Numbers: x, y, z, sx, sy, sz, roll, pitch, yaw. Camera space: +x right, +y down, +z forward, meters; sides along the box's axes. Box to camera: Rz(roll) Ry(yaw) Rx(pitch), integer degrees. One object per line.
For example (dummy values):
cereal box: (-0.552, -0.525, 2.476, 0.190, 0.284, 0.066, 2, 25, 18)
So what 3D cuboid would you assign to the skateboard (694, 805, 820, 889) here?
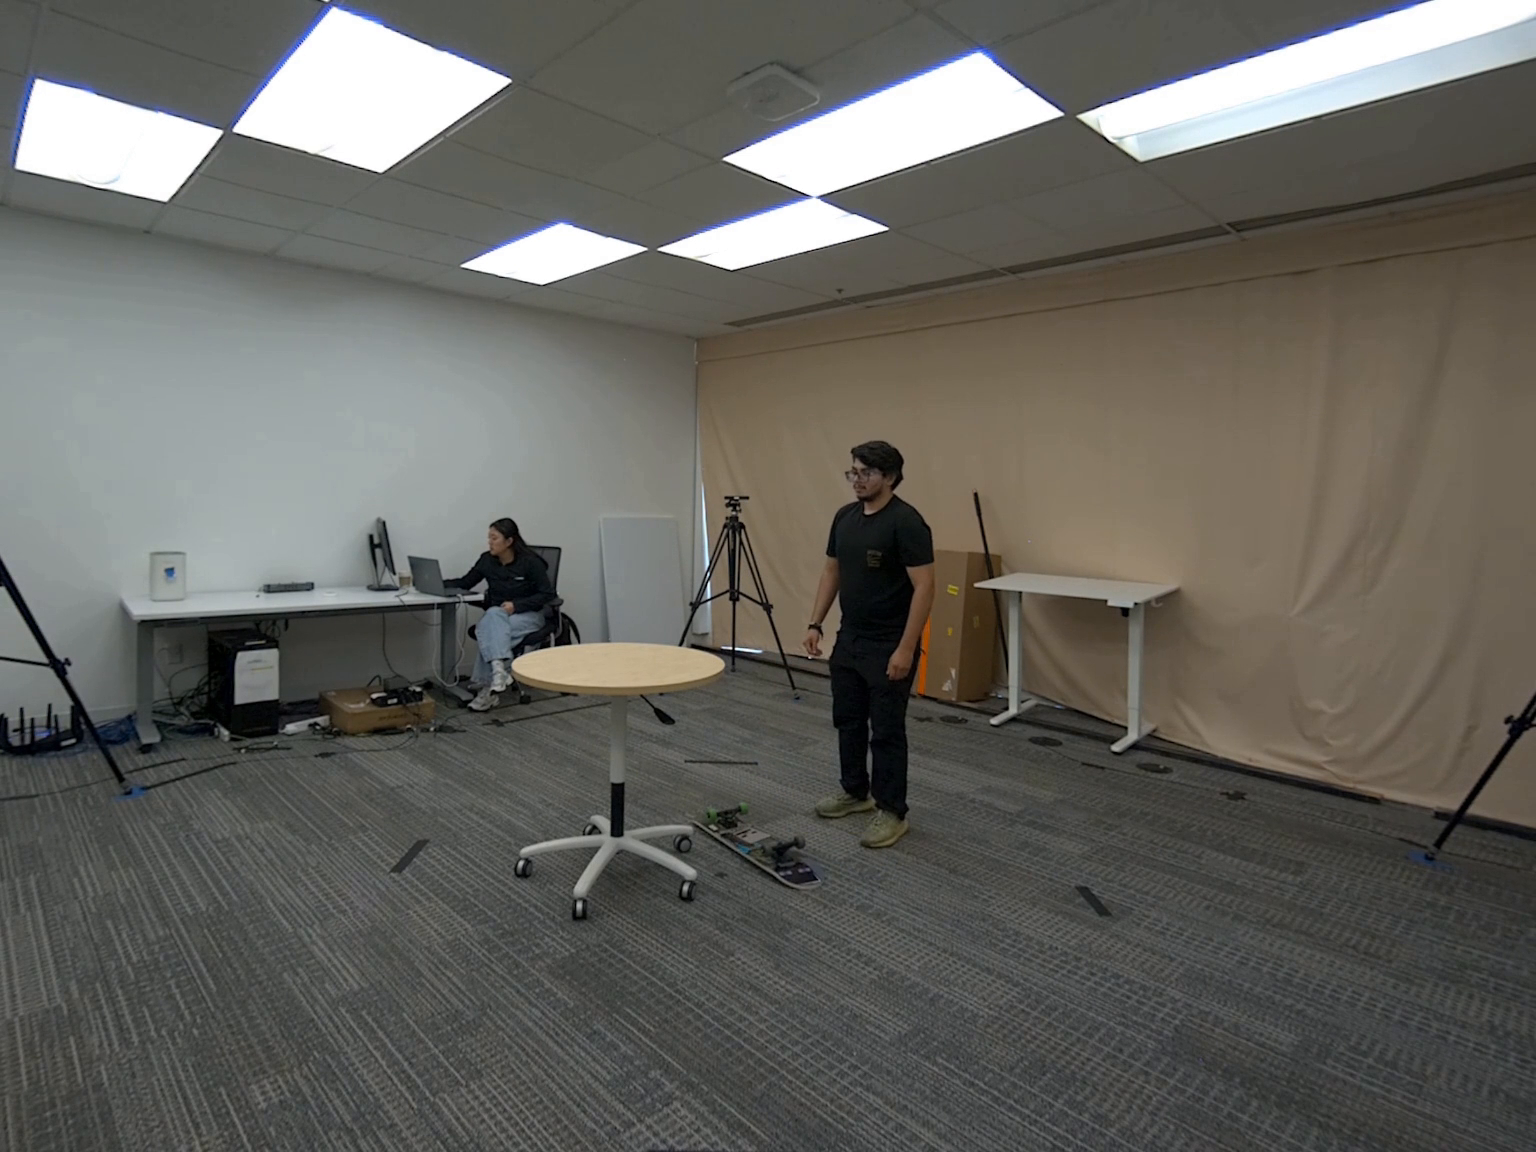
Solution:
skateboard: (-0.067, 1.034, 3.345, 0.189, 0.110, 0.805, -1, 5, -34)
